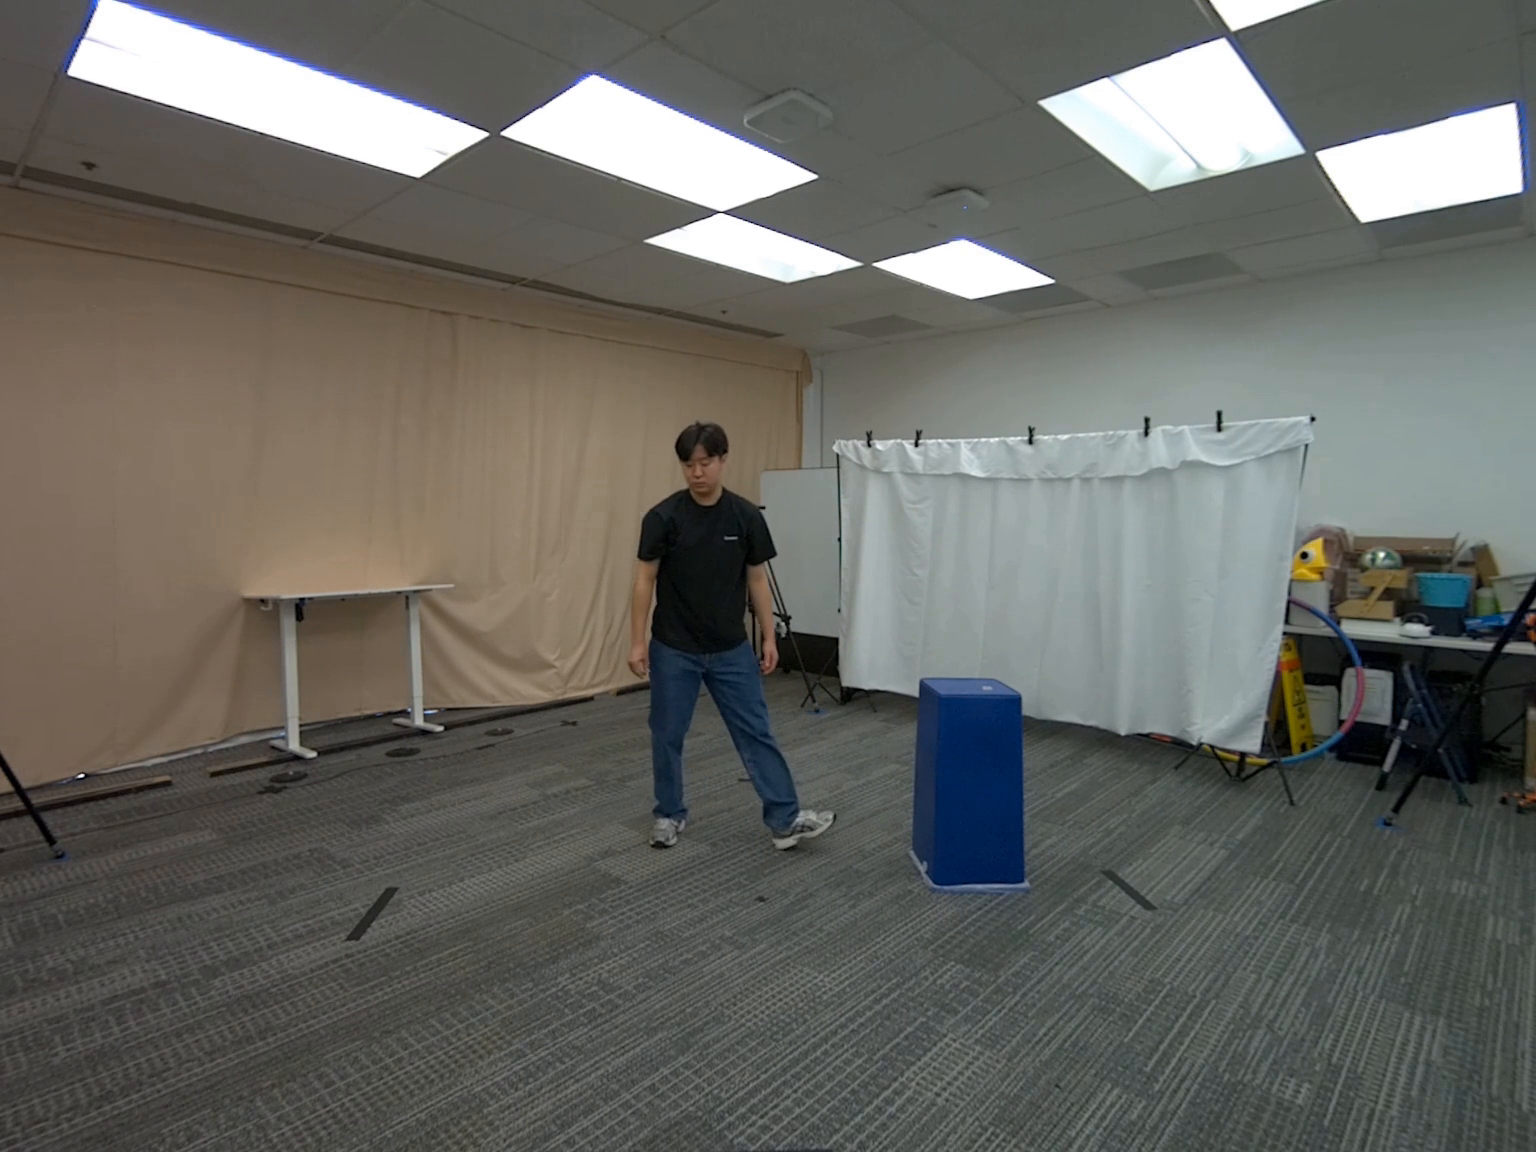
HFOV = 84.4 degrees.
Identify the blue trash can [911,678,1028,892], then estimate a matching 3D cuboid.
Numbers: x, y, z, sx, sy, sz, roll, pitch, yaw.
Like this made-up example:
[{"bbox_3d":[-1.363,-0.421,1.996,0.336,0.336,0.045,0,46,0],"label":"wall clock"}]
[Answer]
[{"bbox_3d":[0.769,0.775,3.189,0.373,0.712,0.380,1,3,-3],"label":"blue trash can"}]
